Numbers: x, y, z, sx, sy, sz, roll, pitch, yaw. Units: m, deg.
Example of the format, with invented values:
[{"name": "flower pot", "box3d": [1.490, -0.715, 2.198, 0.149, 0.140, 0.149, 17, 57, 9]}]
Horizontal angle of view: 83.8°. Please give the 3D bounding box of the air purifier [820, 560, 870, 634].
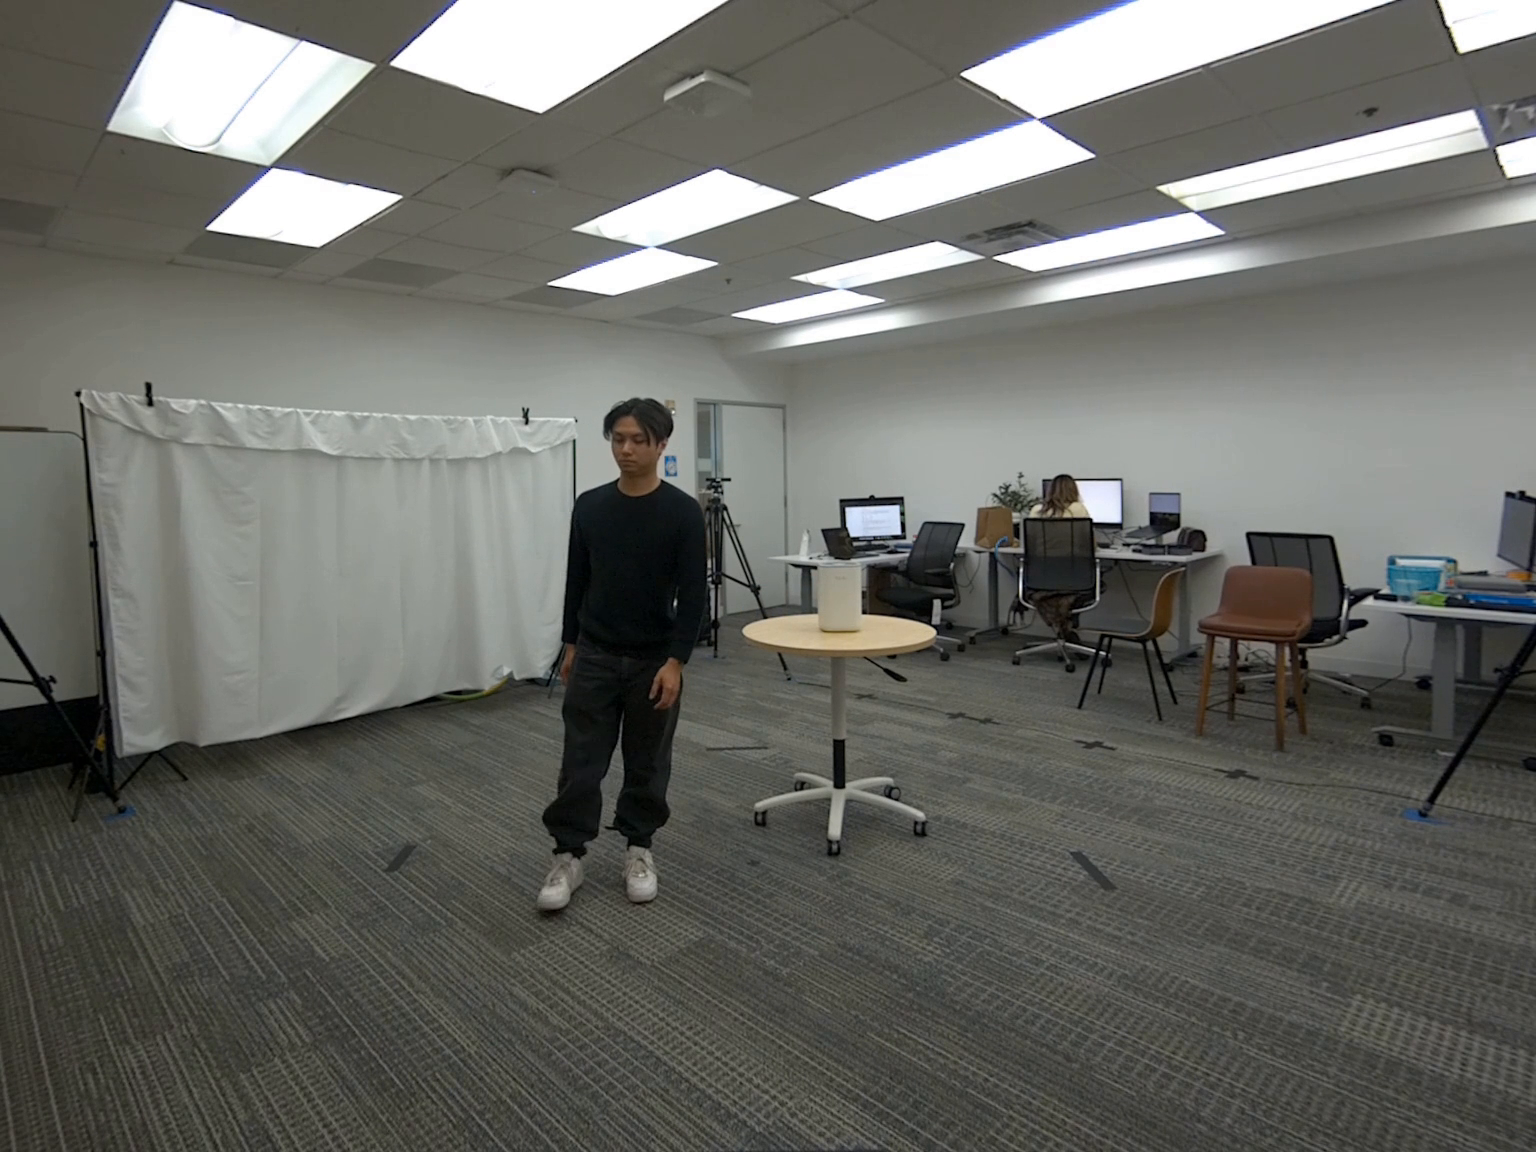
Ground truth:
[{"name": "air purifier", "box3d": [0.303, 0.080, 3.431, 0.171, 0.264, 0.172, -1, 5, 0]}]
